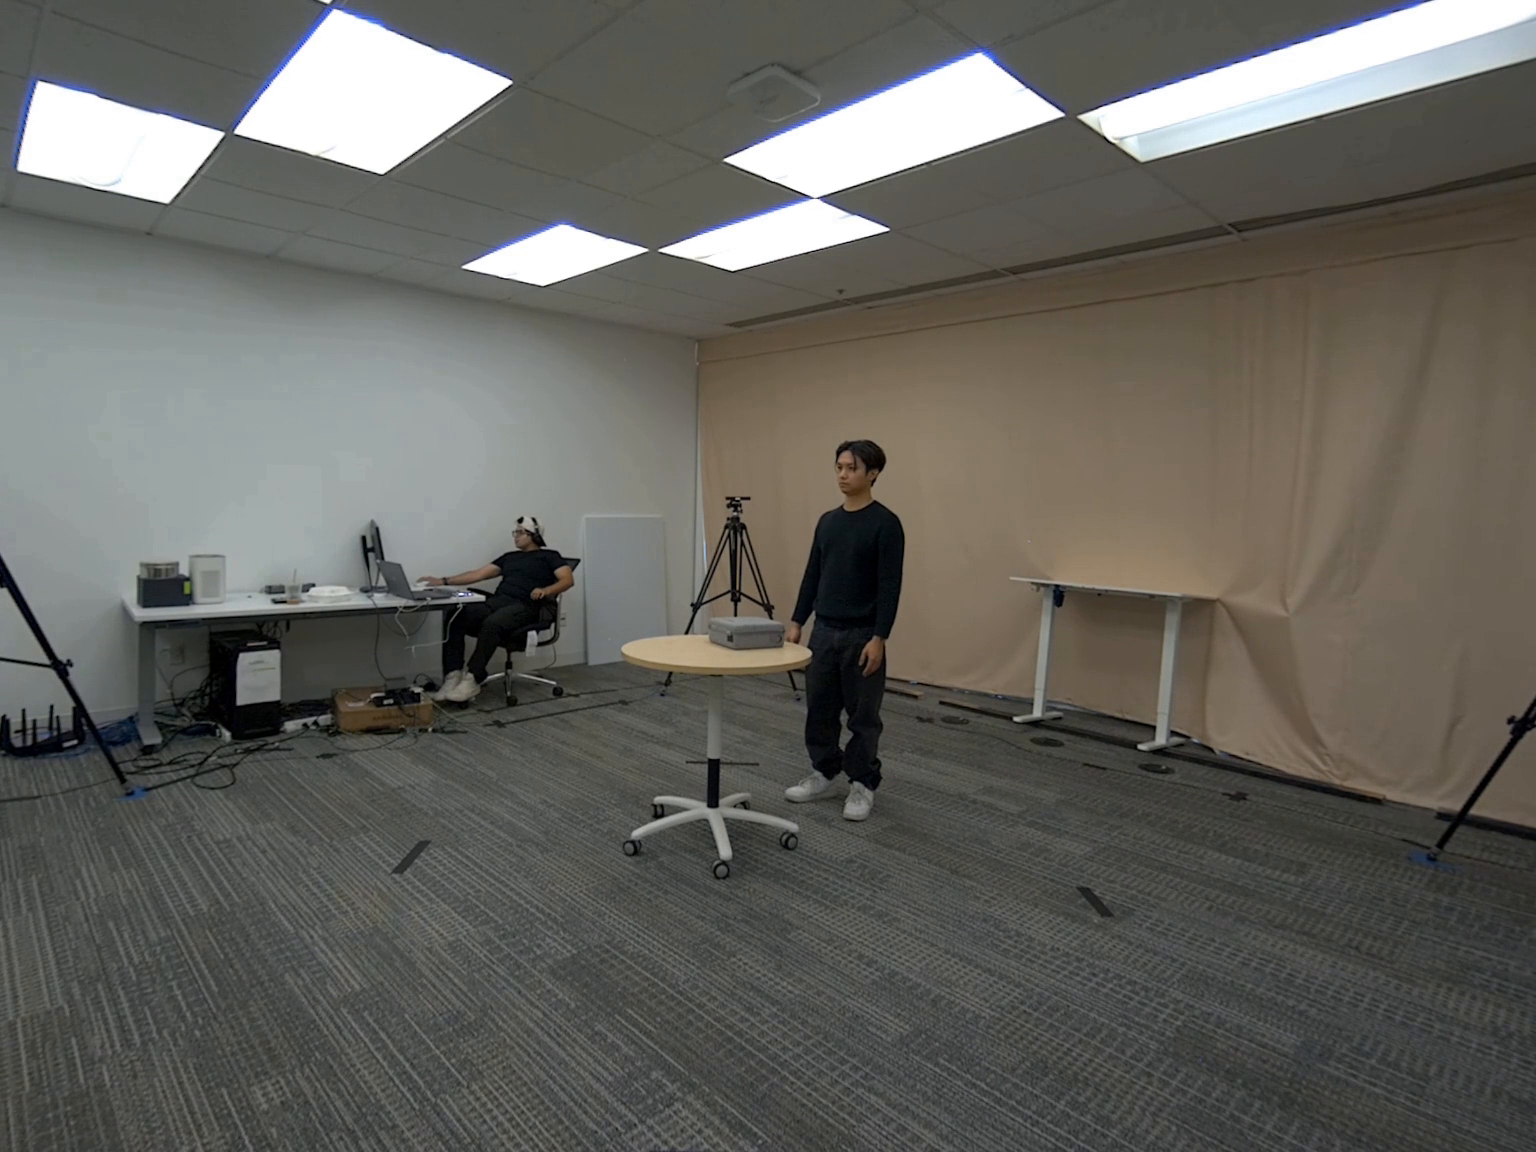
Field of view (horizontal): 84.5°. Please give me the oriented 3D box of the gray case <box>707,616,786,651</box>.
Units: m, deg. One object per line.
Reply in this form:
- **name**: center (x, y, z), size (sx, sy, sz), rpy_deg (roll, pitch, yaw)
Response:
- **gray case**: center (-0.102, 0.234, 3.534), size (0.255, 0.104, 0.262), rpy_deg (-1, 3, -30)
